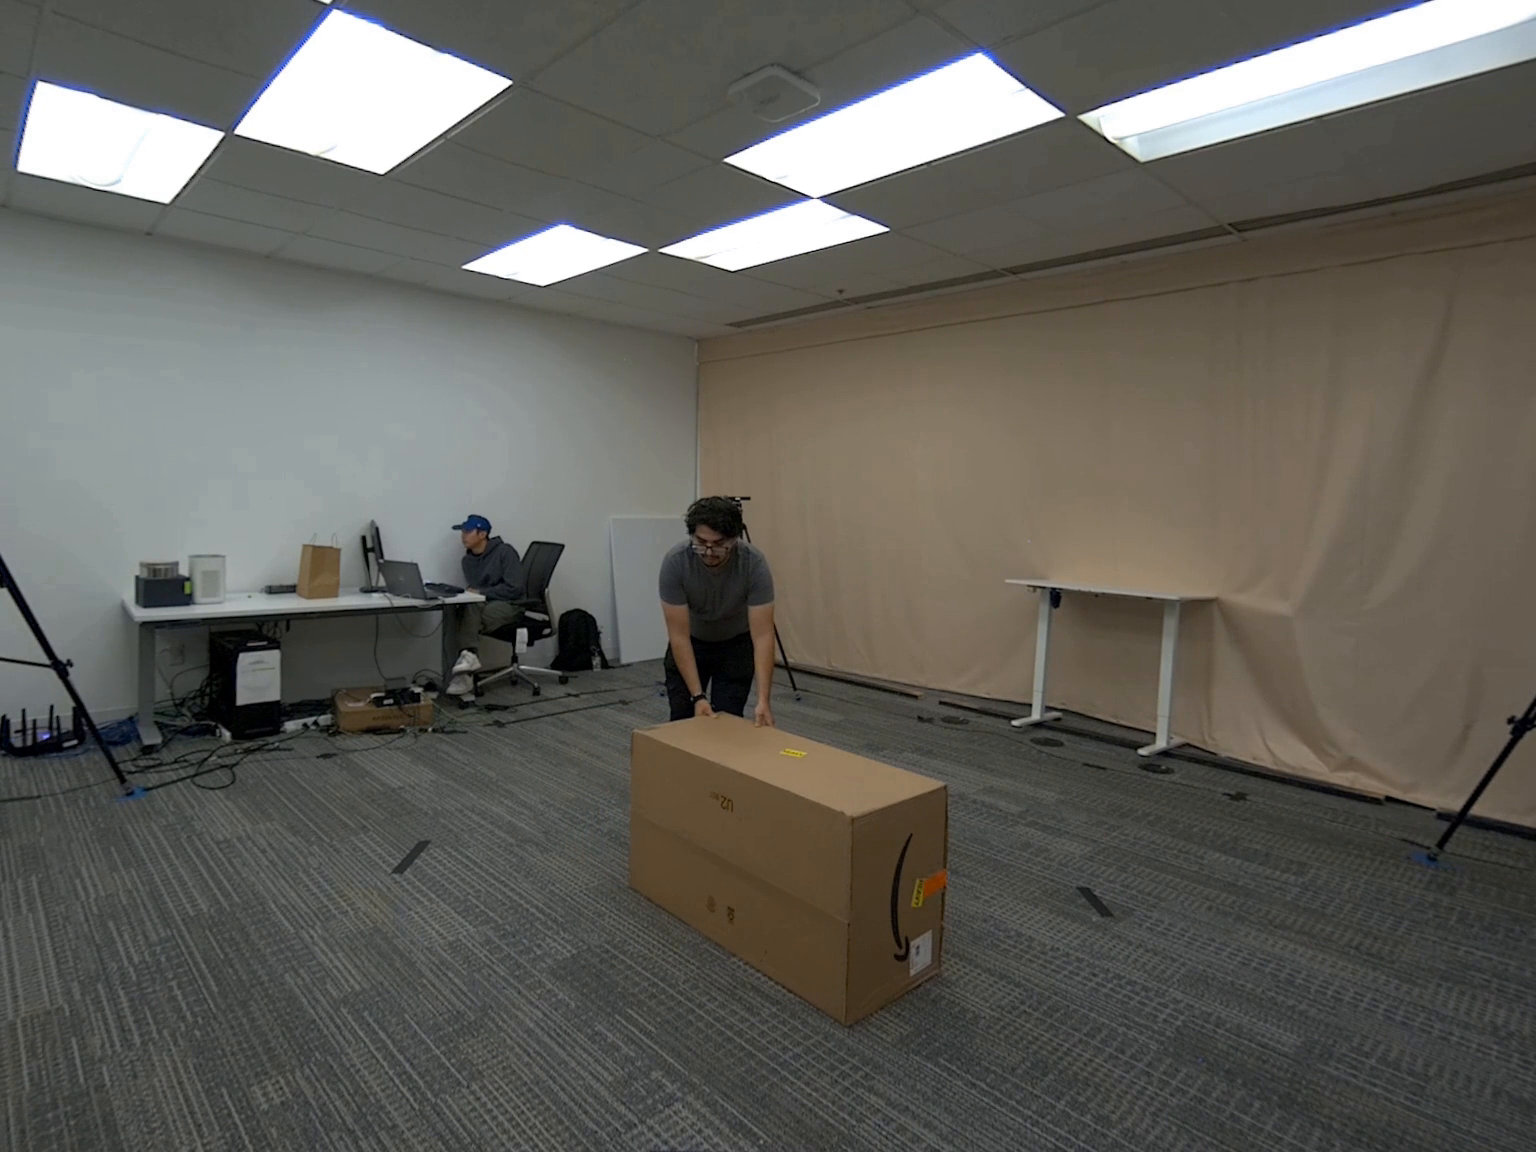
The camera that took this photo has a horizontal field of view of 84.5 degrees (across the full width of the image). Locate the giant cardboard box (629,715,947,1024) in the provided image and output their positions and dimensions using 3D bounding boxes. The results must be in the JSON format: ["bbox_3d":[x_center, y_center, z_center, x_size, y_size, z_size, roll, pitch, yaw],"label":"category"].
[{"bbox_3d":[0.020,0.863,2.721,0.416,0.576,1.052,-2,6,-42],"label":"giant cardboard box"}]
